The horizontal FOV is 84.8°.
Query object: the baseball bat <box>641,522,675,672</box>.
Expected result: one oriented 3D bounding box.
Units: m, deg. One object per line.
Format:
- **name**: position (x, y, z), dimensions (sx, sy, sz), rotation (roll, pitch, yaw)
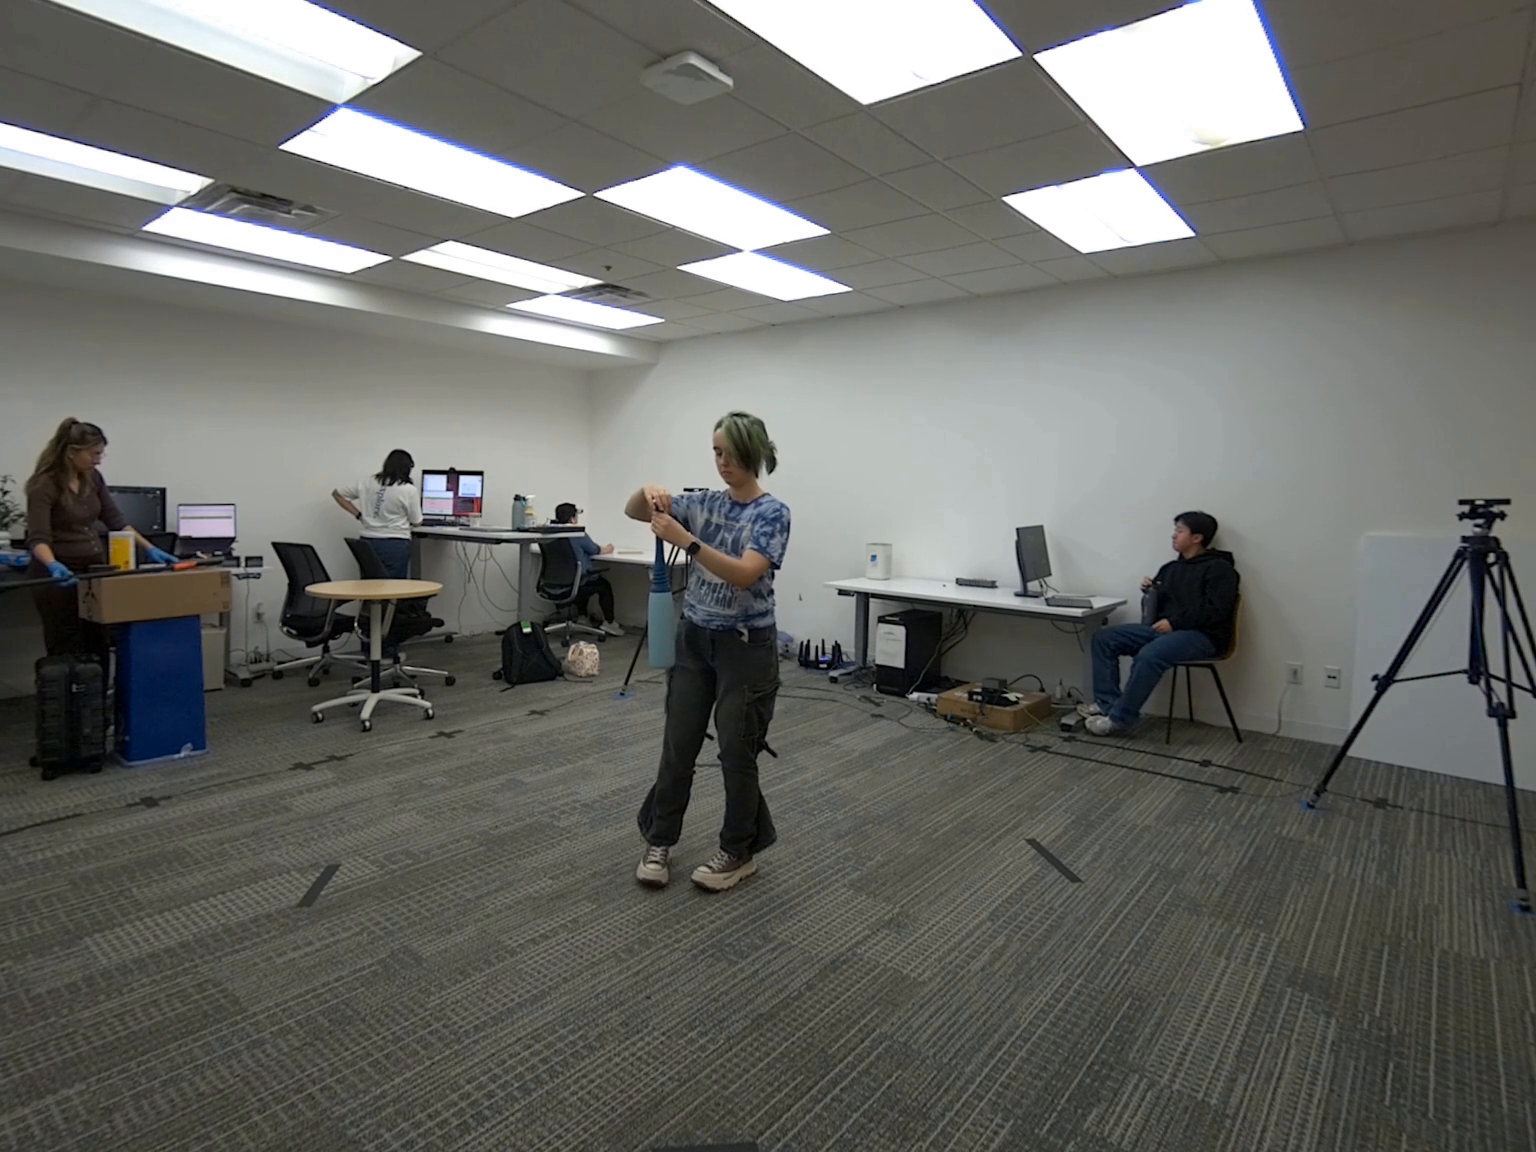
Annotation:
- **baseball bat**: position (-0.363, 0.032, 2.766), dimensions (0.089, 0.540, 0.089), rotation (-2, 4, -2)
